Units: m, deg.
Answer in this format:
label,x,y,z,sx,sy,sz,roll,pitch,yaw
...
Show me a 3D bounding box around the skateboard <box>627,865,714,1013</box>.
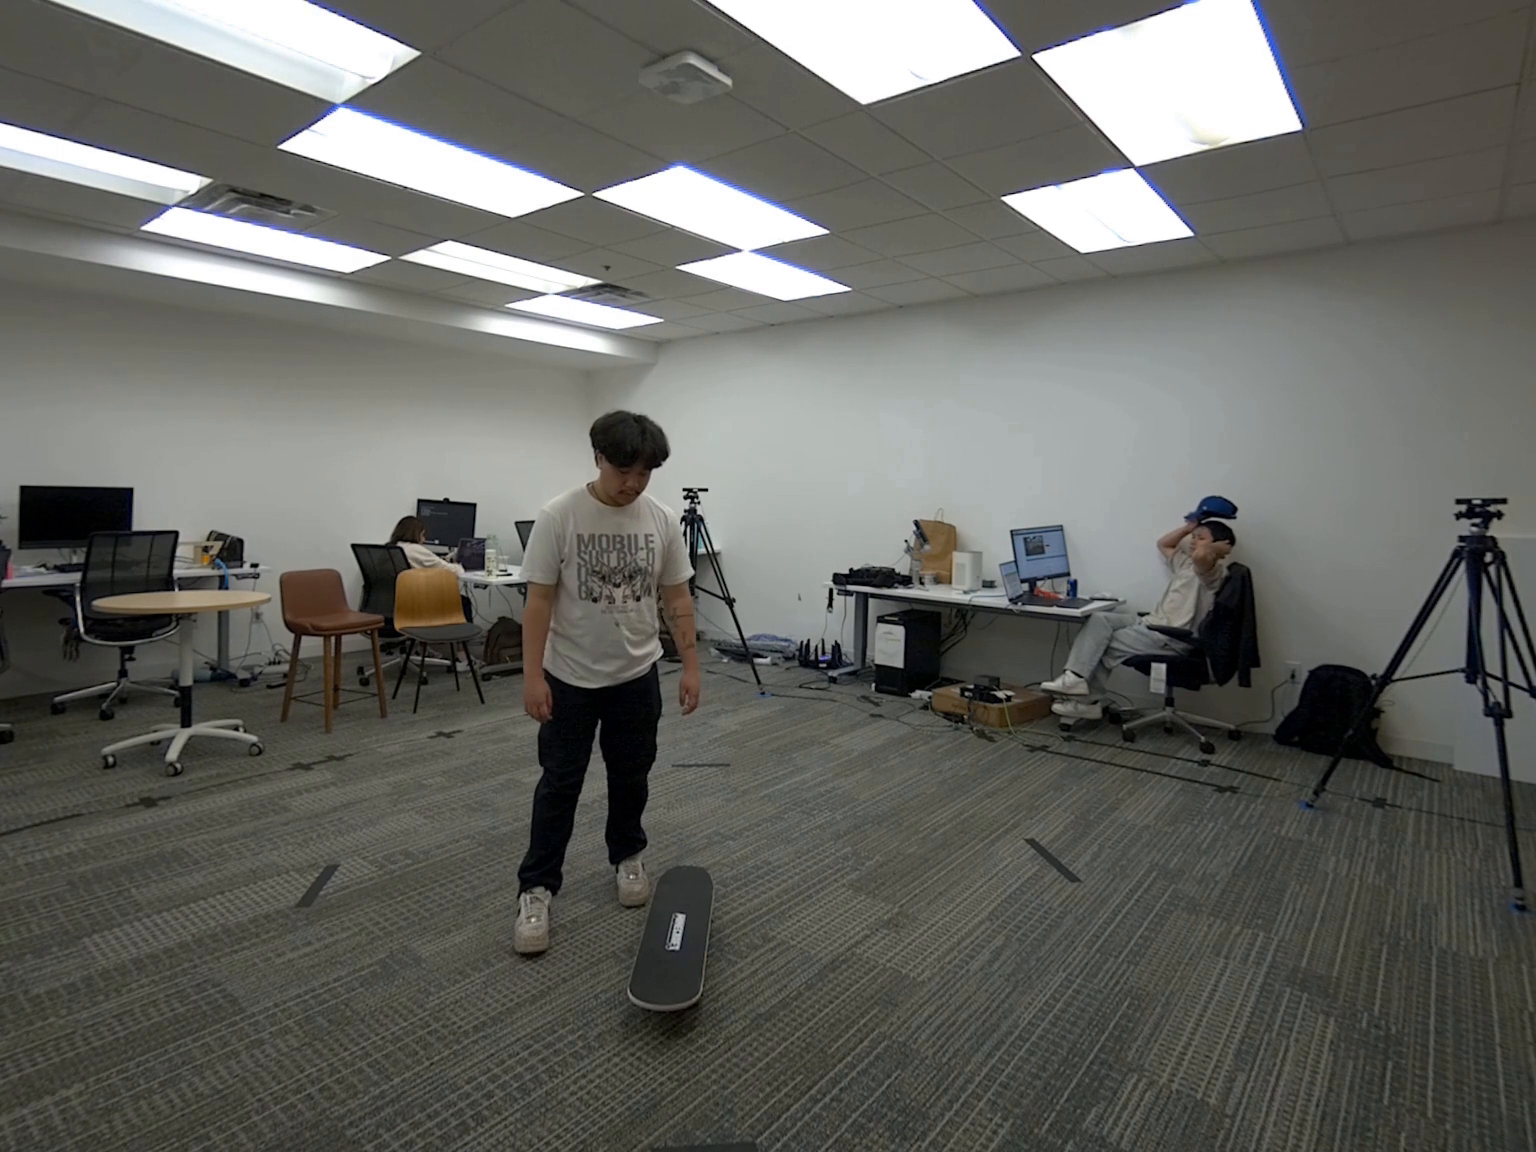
label,x,y,z,sx,sy,sz,roll,pitch,yaw
skateboard,-0.280,1.075,2.494,0.194,0.110,0.787,1,6,0
